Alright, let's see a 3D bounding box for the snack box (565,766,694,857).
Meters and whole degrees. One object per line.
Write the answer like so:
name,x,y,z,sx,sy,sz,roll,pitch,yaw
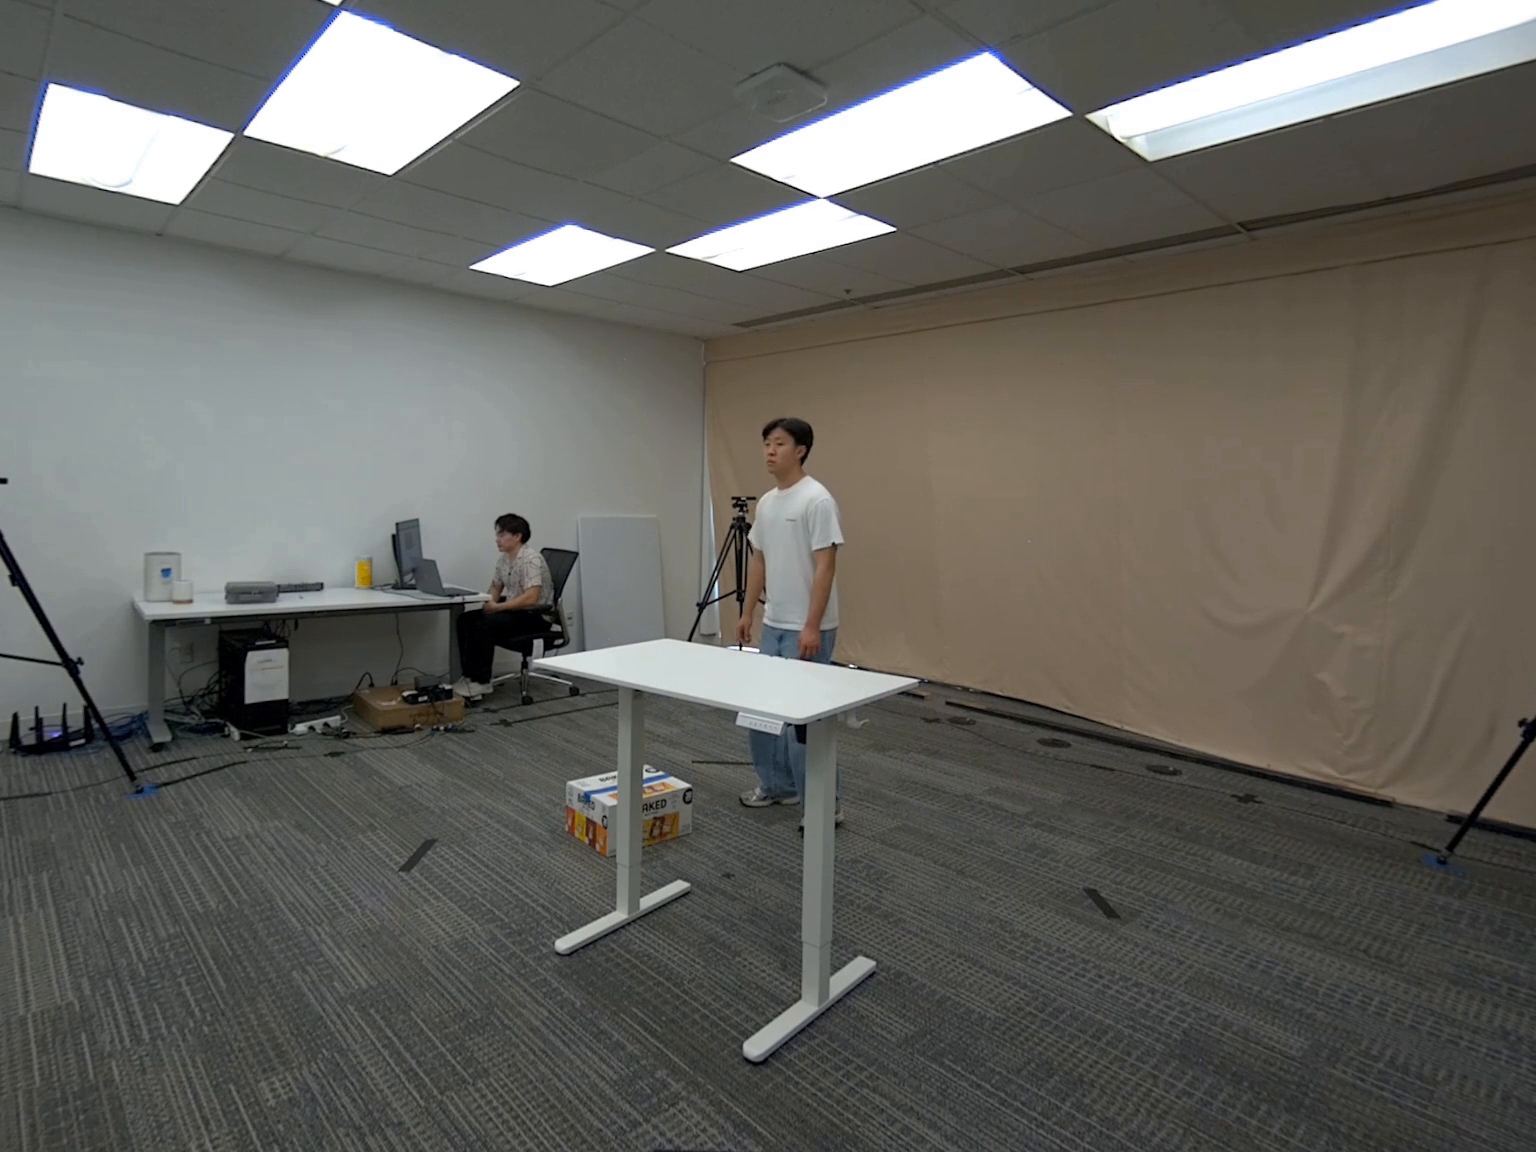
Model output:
snack box,-0.584,0.961,3.480,0.396,0.205,0.349,-3,6,-41
